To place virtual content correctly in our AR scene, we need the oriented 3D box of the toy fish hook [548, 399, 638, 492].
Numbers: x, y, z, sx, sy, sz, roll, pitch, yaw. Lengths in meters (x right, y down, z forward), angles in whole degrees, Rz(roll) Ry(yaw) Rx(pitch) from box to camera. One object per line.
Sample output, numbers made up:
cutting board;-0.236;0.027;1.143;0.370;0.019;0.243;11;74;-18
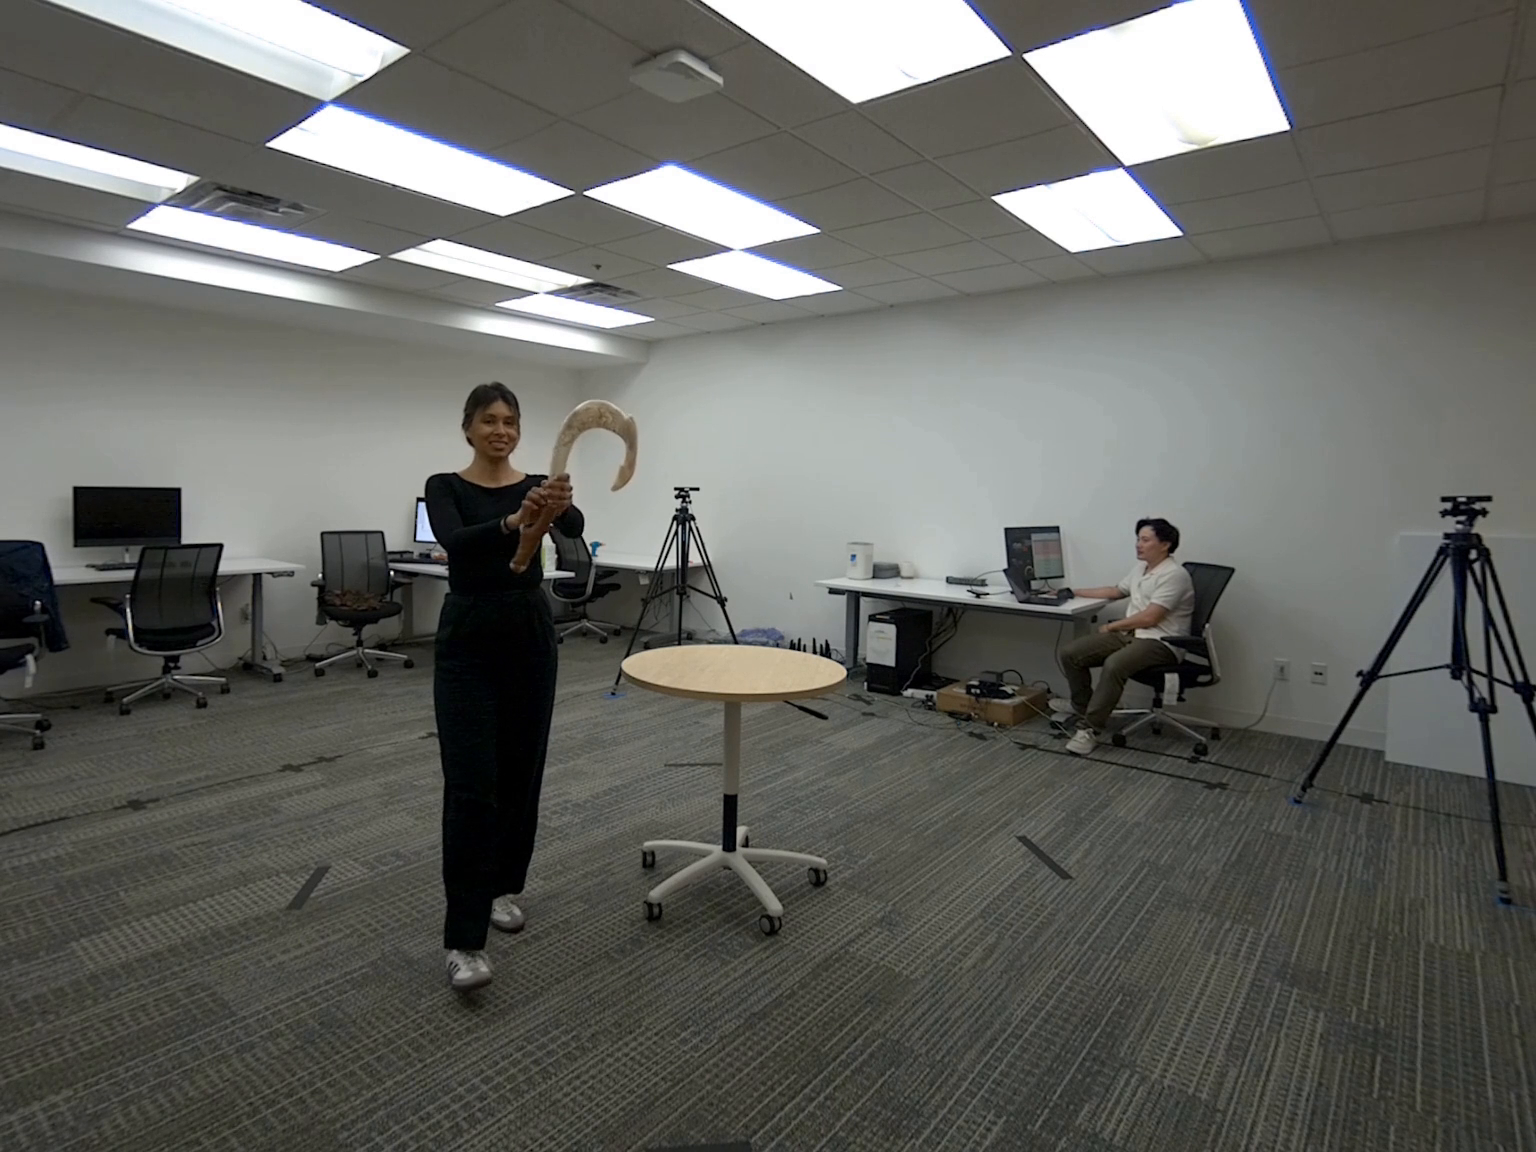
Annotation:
toy fish hook;-0.506;-0.212;2.200;0.227;0.505;0.048;29;7;9
